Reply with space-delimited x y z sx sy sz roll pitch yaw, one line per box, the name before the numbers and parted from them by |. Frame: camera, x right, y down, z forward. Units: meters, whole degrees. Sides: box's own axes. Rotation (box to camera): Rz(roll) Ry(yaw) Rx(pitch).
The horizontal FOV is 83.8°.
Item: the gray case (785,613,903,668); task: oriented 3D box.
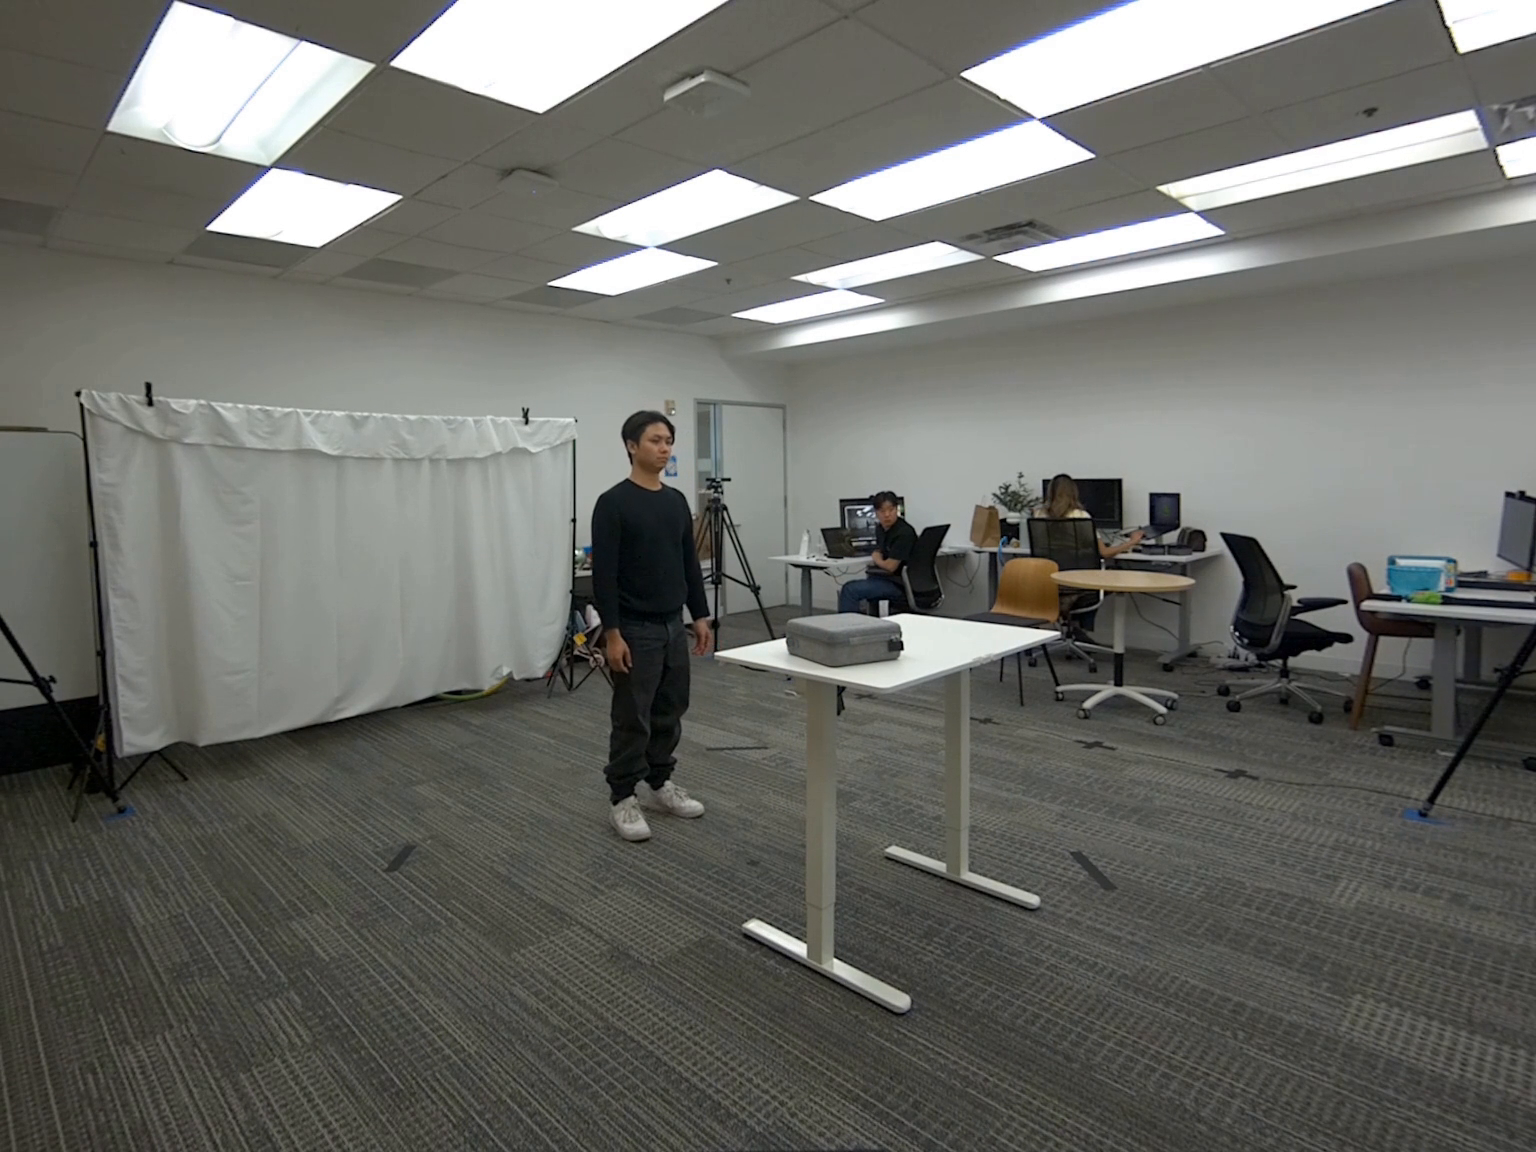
gray case | 0.216 0.177 2.438 0.251 0.104 0.267 -5 7 -28
